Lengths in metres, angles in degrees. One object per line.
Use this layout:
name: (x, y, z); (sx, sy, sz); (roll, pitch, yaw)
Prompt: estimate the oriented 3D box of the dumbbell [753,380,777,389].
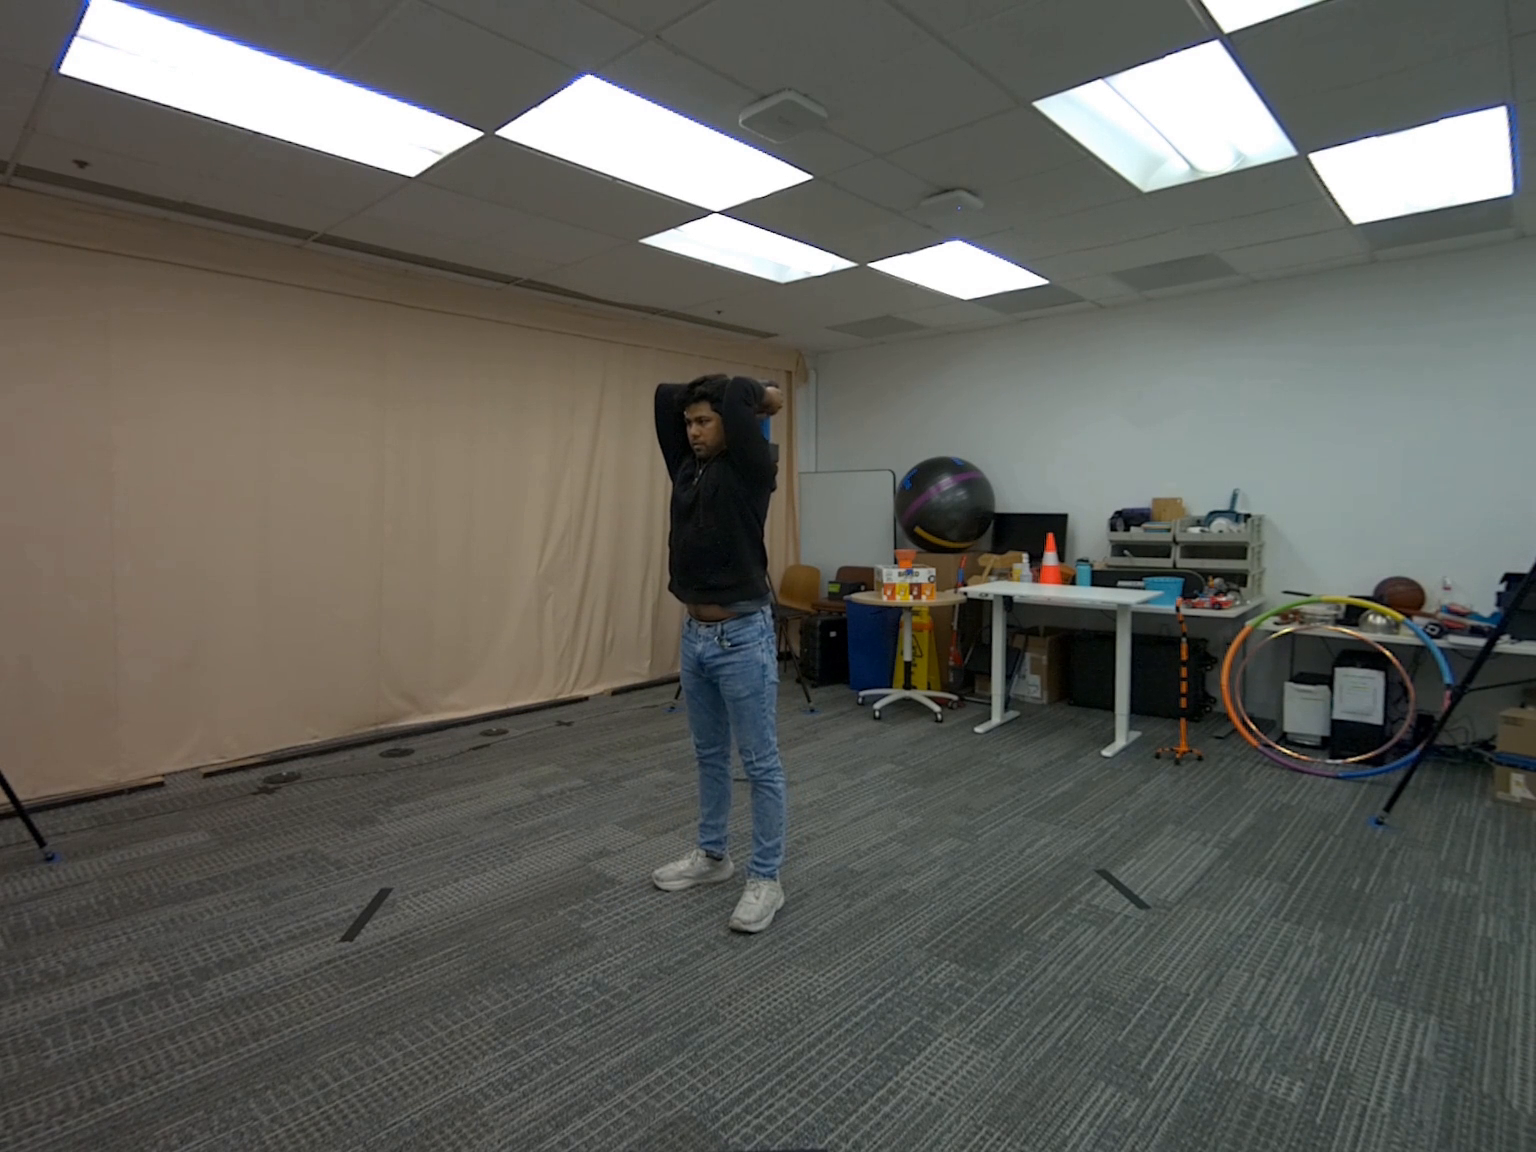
dumbbell: (-0.023, -0.551, 2.989); (0.105, 0.293, 0.127); (-4, 5, -36)
